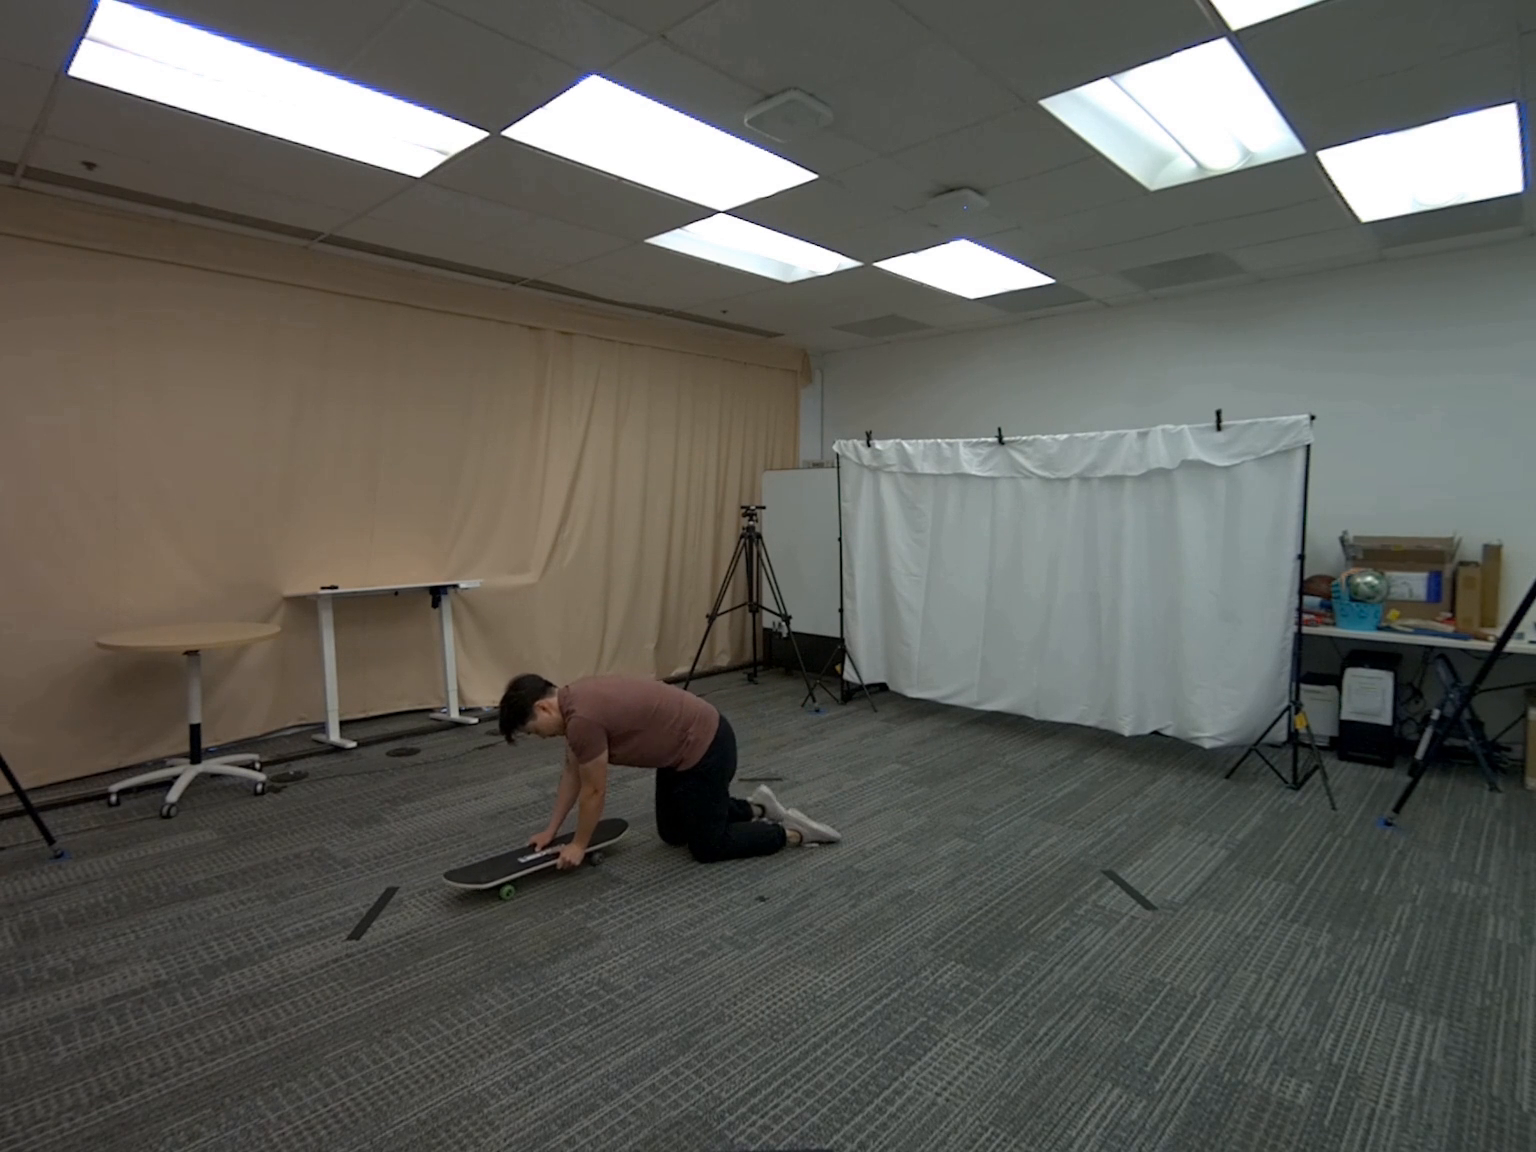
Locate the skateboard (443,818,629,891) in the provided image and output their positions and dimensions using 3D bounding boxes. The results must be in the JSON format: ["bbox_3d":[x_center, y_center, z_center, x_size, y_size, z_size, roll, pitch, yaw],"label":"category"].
[{"bbox_3d":[-0.858,1.084,3.186,0.200,0.110,0.761,4,5,44],"label":"skateboard"}]
